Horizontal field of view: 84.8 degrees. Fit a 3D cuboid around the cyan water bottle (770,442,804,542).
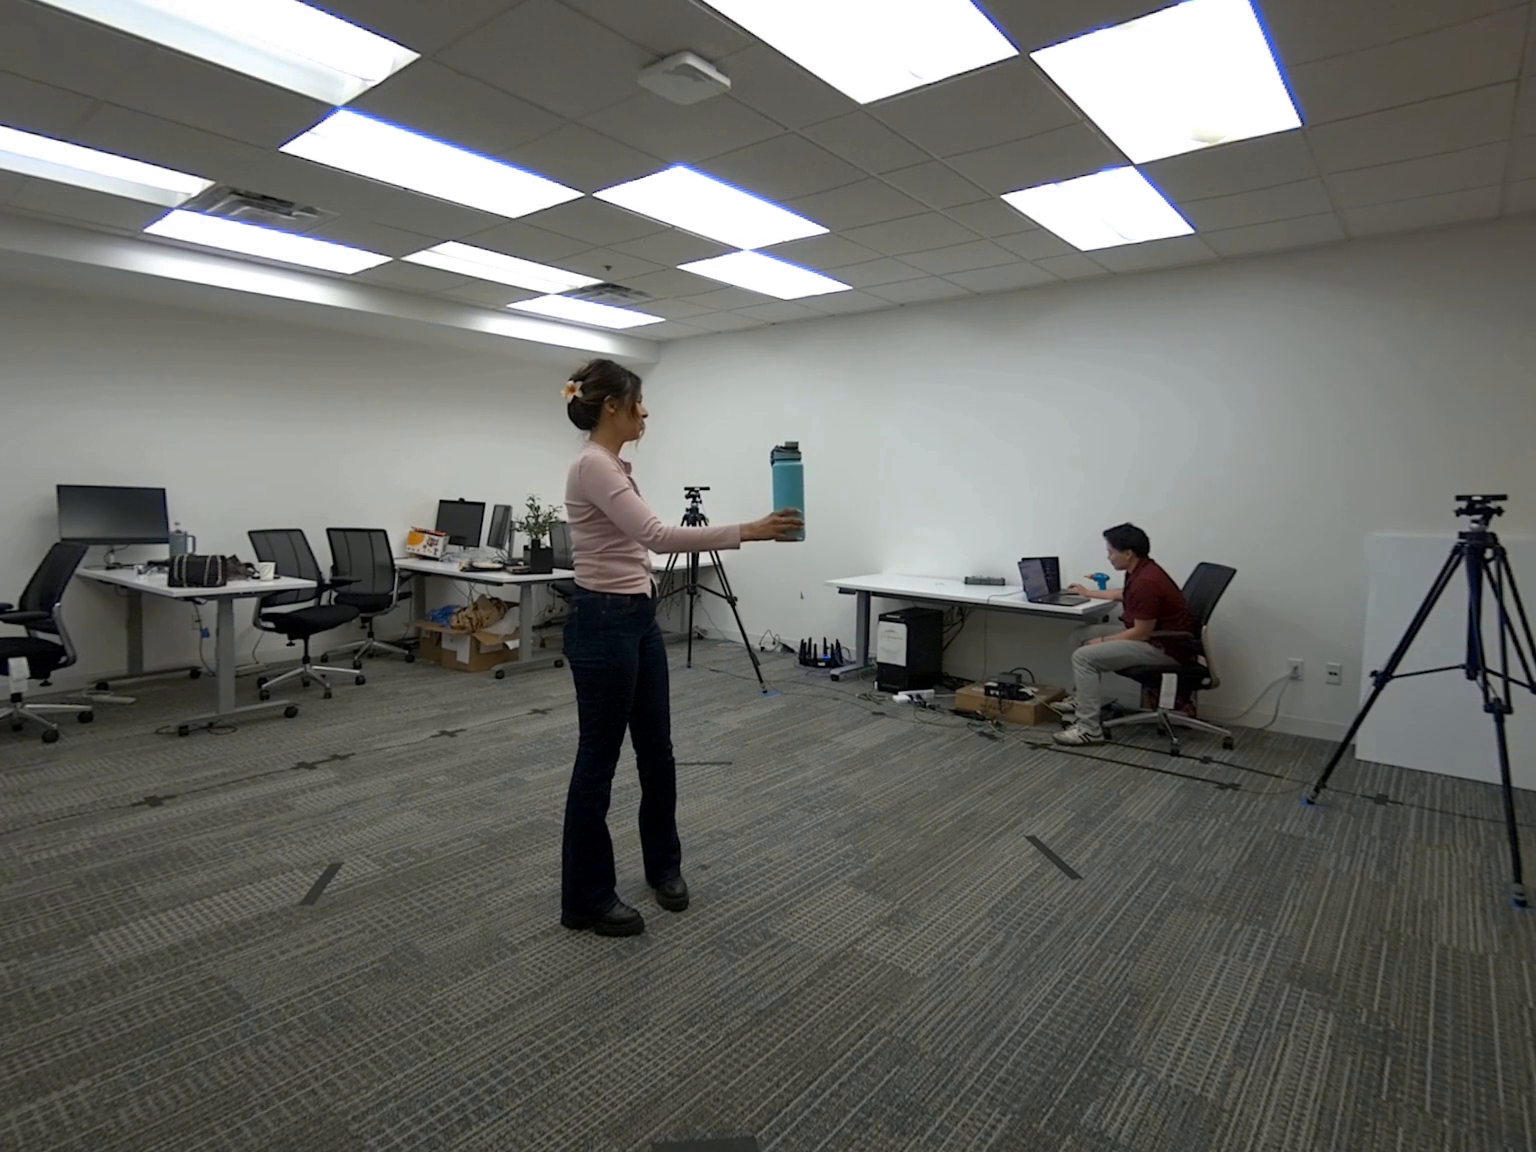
[{"bbox_3d":[0.046,-0.245,2.413,0.092,0.283,0.093,-1,3,-2],"label":"cyan water bottle"}]
